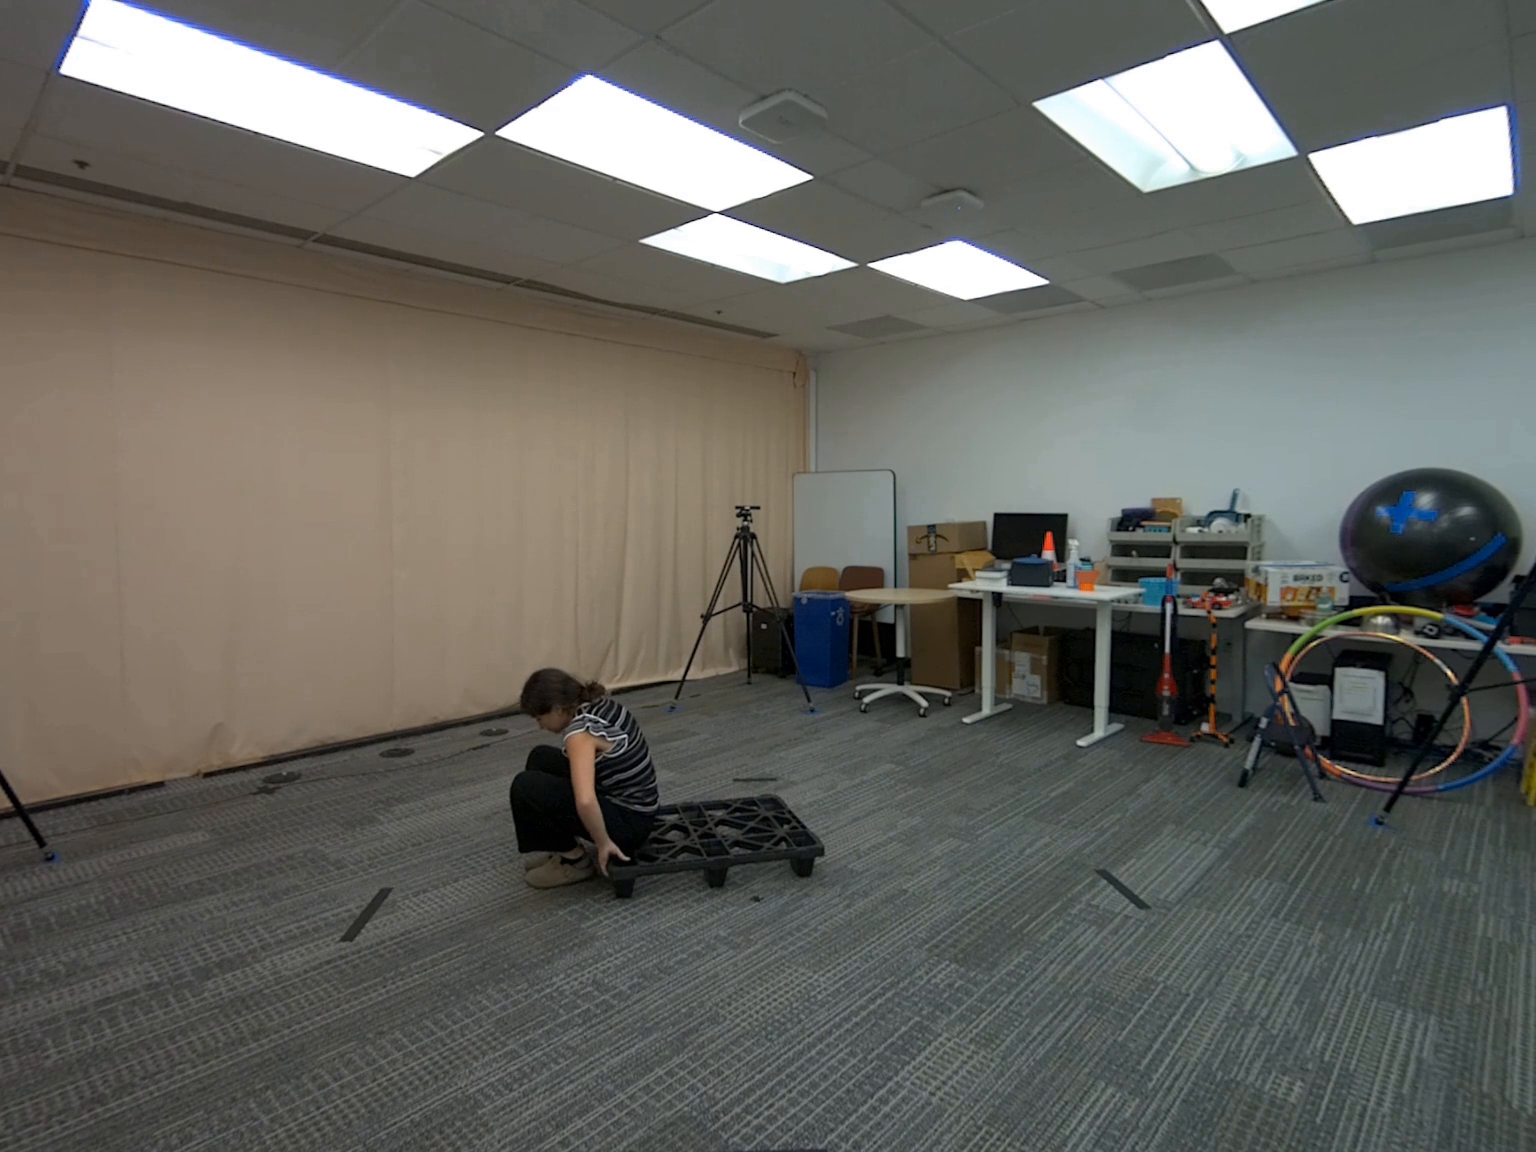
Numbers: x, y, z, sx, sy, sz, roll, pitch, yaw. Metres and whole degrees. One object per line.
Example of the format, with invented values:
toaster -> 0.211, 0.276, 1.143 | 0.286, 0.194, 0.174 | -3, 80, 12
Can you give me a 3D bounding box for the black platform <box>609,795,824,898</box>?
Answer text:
black platform -> -0.255, 1.053, 3.294 | 0.794, 0.143, 0.615 | -2, 4, -15
